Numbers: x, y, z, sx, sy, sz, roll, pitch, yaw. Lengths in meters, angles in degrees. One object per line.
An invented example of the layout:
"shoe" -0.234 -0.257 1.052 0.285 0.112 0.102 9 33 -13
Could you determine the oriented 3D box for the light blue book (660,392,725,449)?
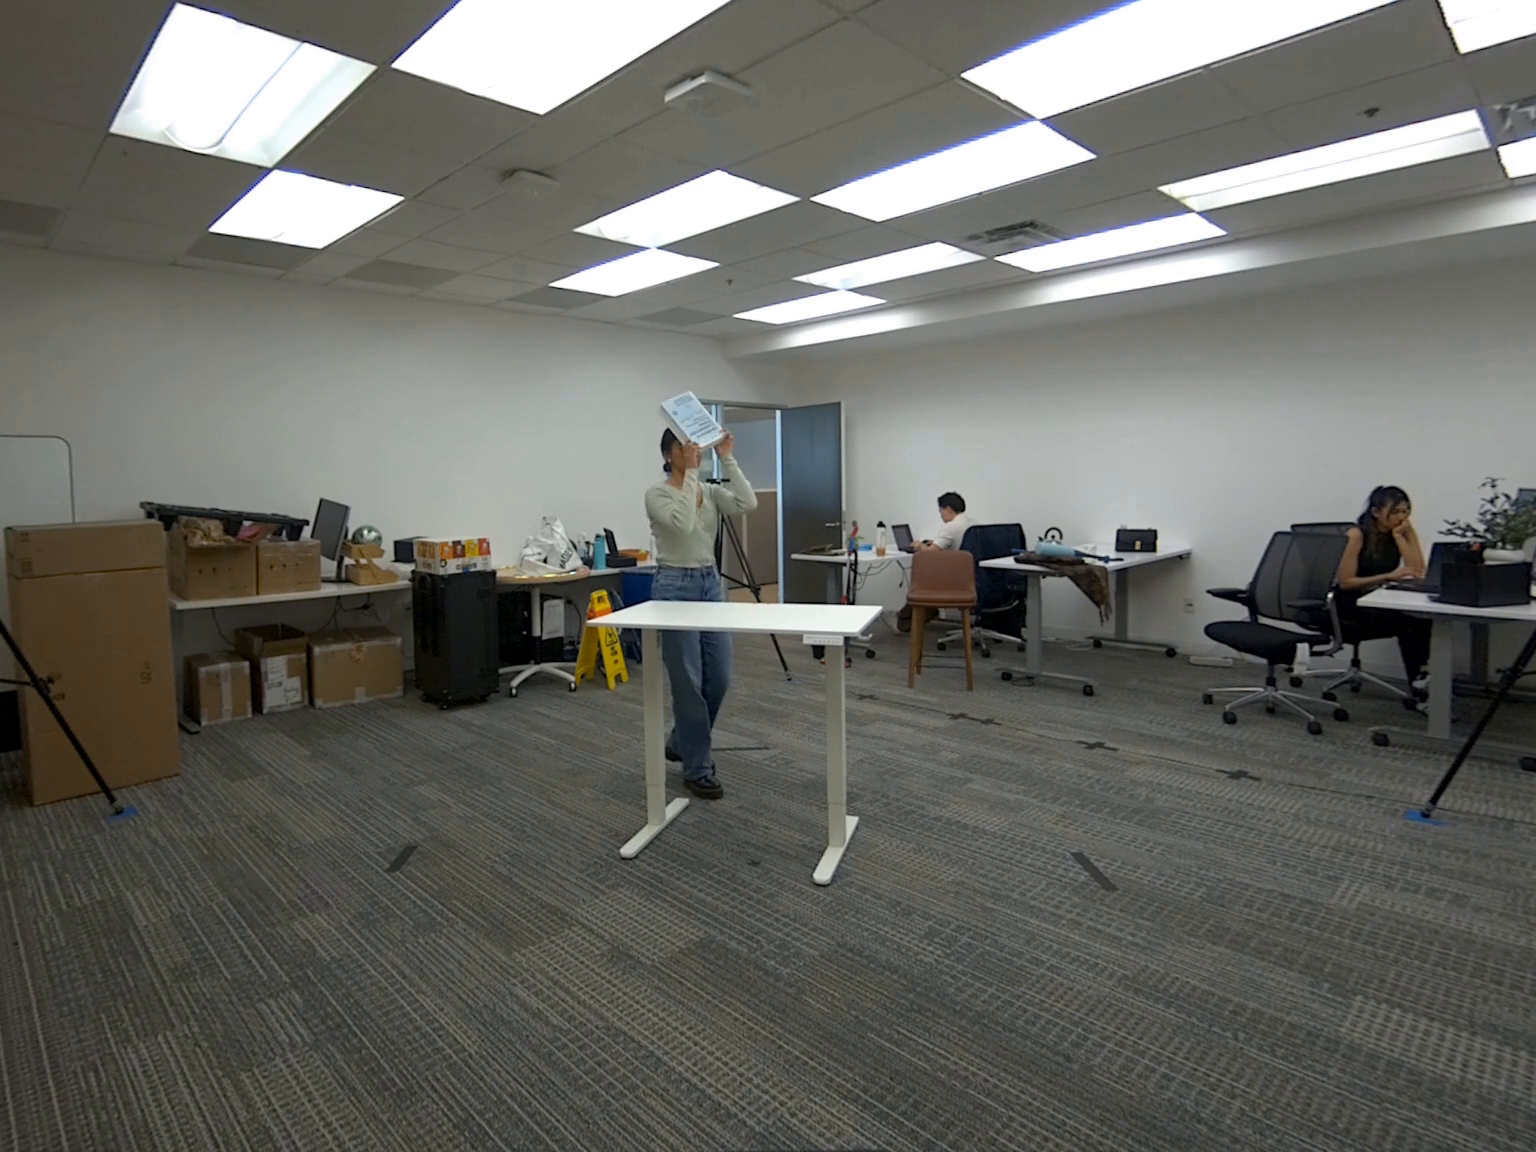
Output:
"light blue book" -0.337 -0.650 3.709 0.189 0.264 0.059 -32 -12 -38
